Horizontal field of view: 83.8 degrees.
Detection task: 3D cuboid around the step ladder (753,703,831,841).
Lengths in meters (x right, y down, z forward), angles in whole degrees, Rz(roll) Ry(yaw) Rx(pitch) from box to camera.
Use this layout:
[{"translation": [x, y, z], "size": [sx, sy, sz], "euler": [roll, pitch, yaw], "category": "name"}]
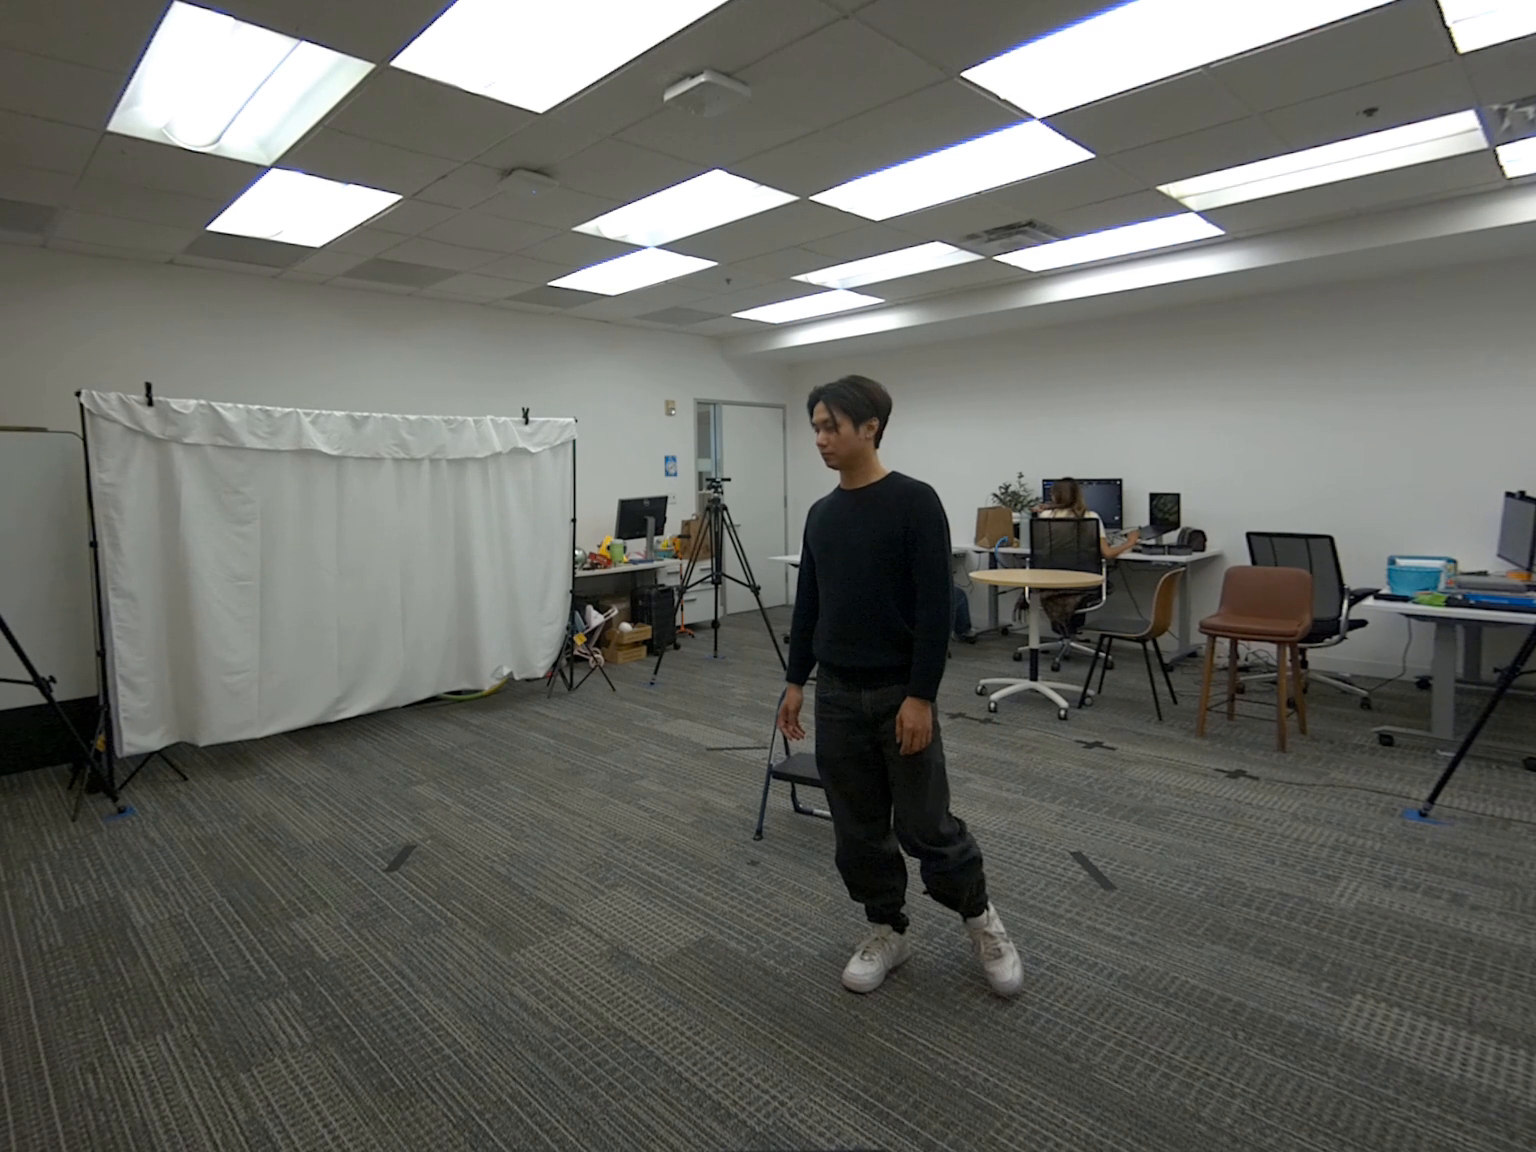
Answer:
[{"translation": [0.208, 0.710, 3.320], "size": [0.442, 0.604, 0.341], "euler": [2, 5, 32], "category": "step ladder"}]
